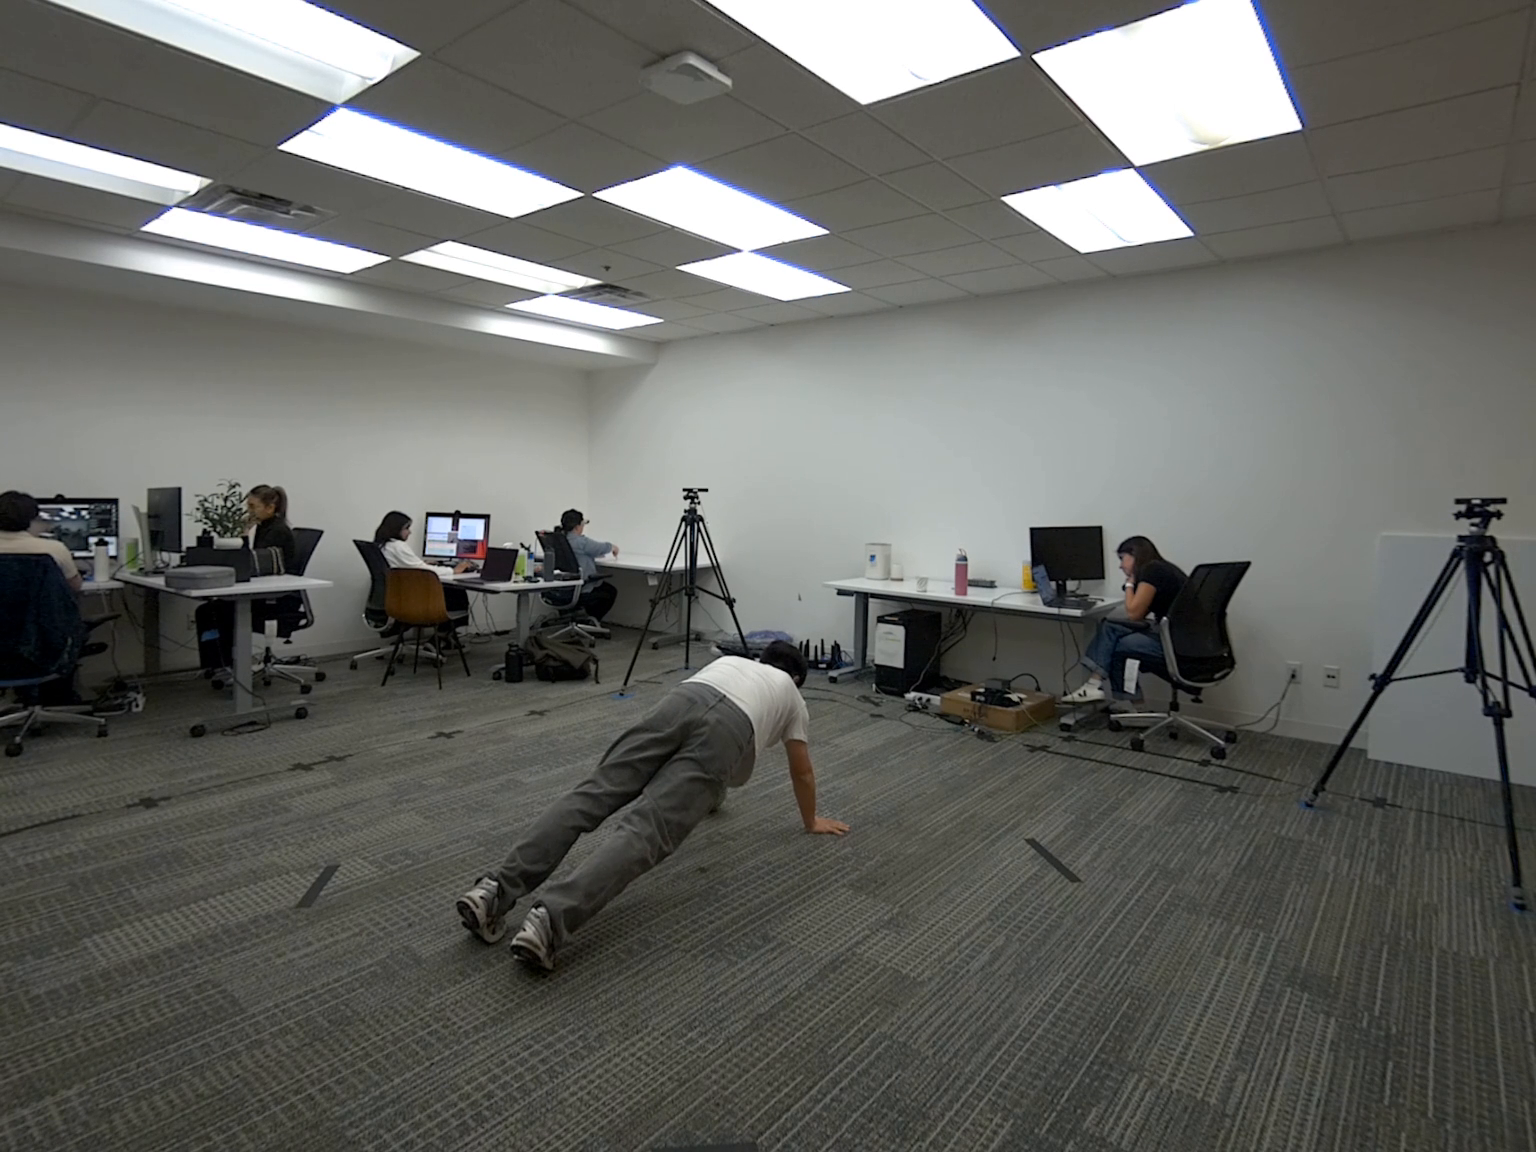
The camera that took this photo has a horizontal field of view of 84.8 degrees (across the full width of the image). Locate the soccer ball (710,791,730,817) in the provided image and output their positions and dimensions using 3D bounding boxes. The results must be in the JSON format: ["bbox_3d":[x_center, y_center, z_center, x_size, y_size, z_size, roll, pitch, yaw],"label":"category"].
[{"bbox_3d":[-0.257,0.908,3.684,0.187,0.187,0.188,1,4,-2],"label":"soccer ball"}]
